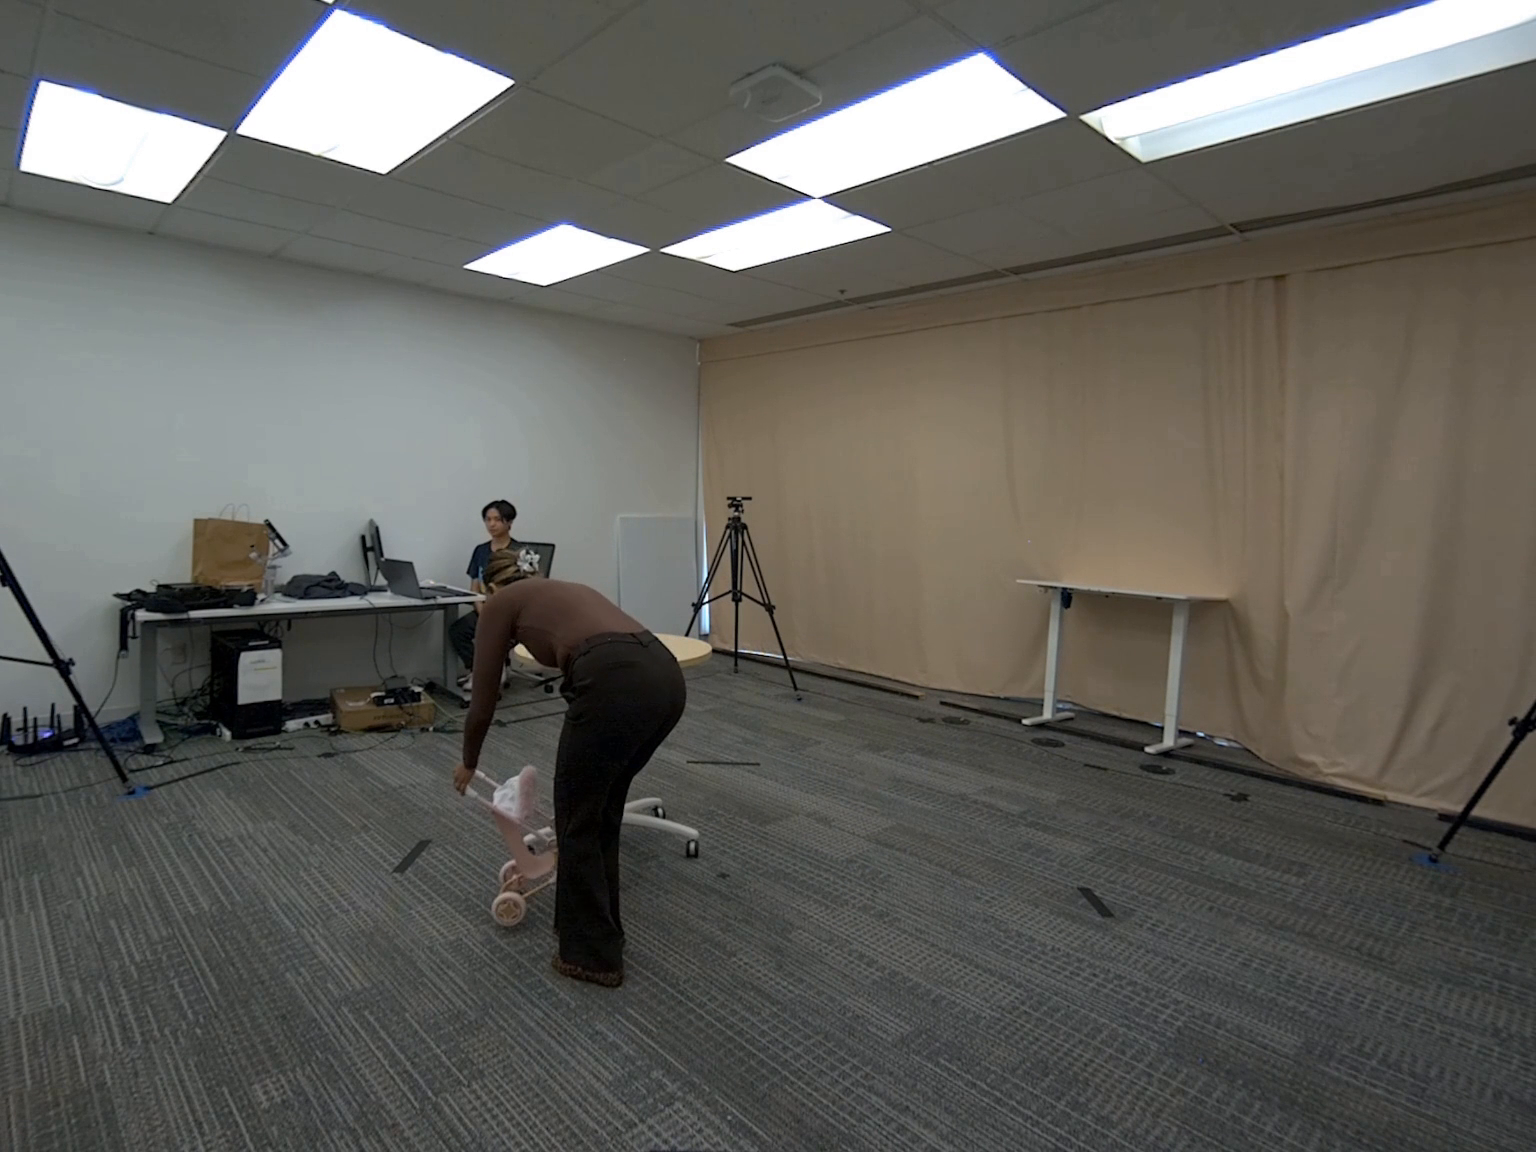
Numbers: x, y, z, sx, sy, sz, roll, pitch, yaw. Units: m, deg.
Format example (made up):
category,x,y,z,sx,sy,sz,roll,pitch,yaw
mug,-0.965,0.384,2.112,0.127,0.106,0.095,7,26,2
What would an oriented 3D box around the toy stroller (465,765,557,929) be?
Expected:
category,x,y,z,sx,sy,sz,roll,pitch,yaw
toy stroller,-0.787,0.870,2.798,0.340,0.533,0.283,-14,5,-4
